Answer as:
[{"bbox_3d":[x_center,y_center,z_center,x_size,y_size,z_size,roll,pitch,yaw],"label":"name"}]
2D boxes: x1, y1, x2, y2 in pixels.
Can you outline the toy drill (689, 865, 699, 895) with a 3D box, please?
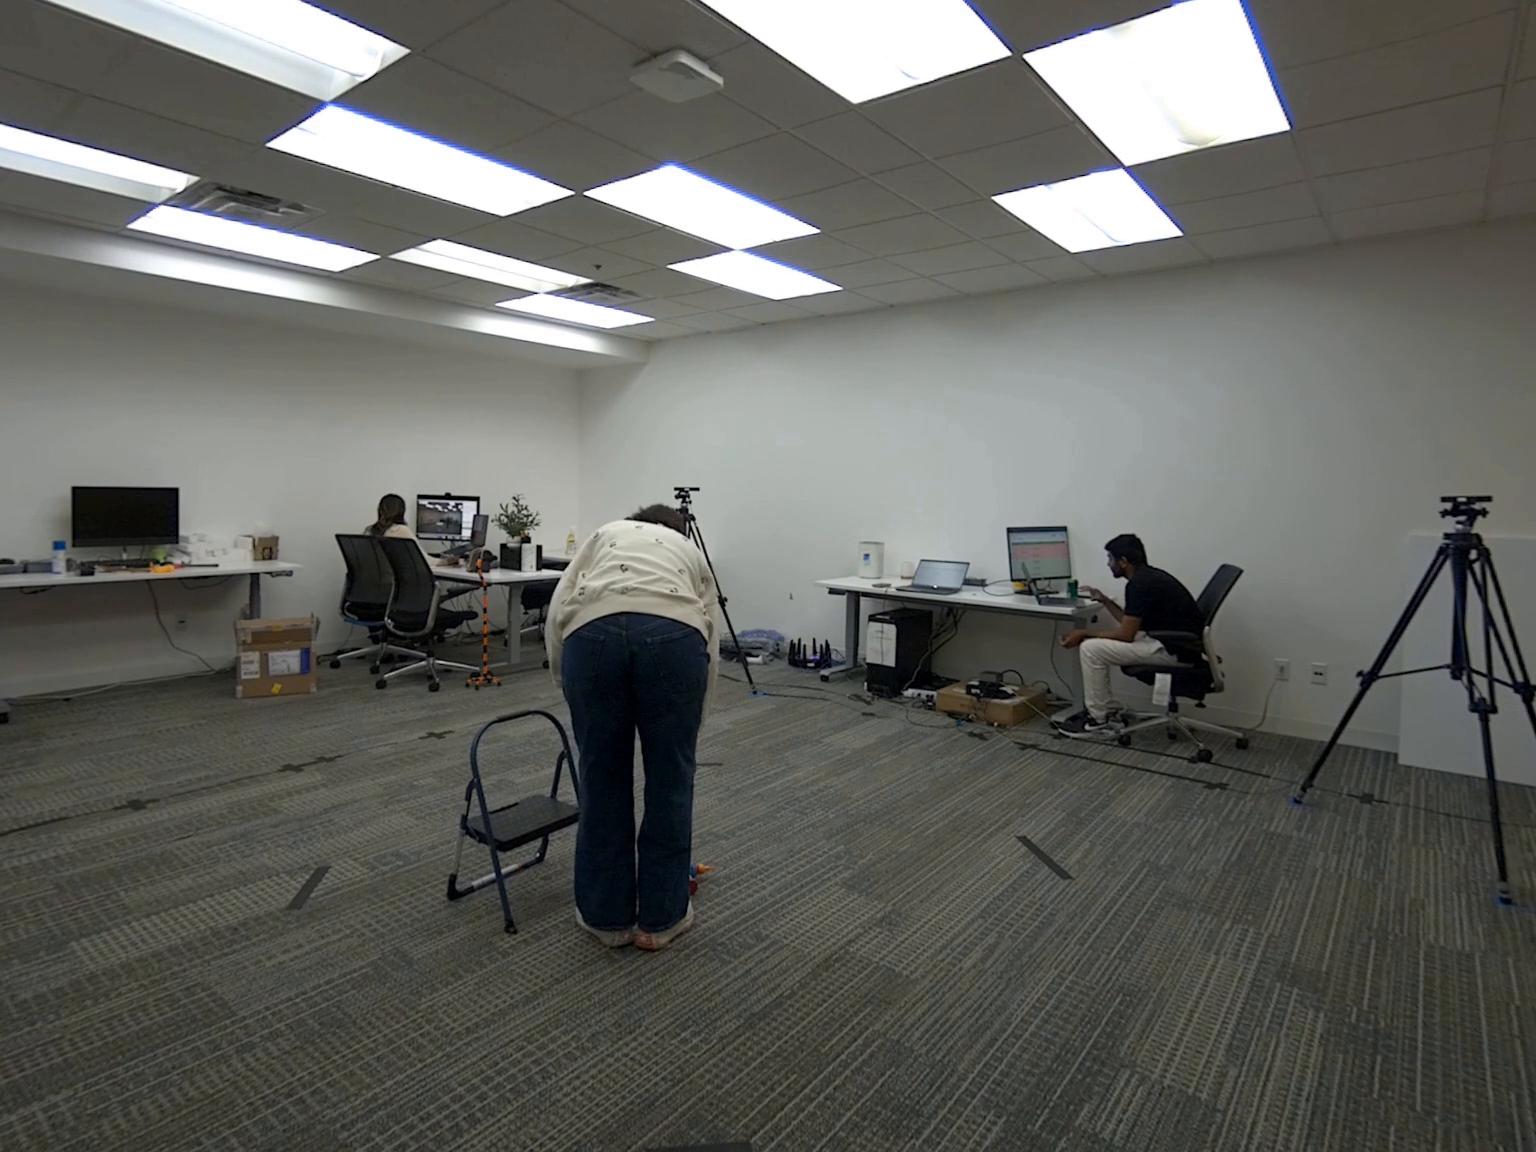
[{"bbox_3d":[-0.275,1.059,2.949,0.167,0.061,0.149,0,7,-15],"label":"toy drill"}]
